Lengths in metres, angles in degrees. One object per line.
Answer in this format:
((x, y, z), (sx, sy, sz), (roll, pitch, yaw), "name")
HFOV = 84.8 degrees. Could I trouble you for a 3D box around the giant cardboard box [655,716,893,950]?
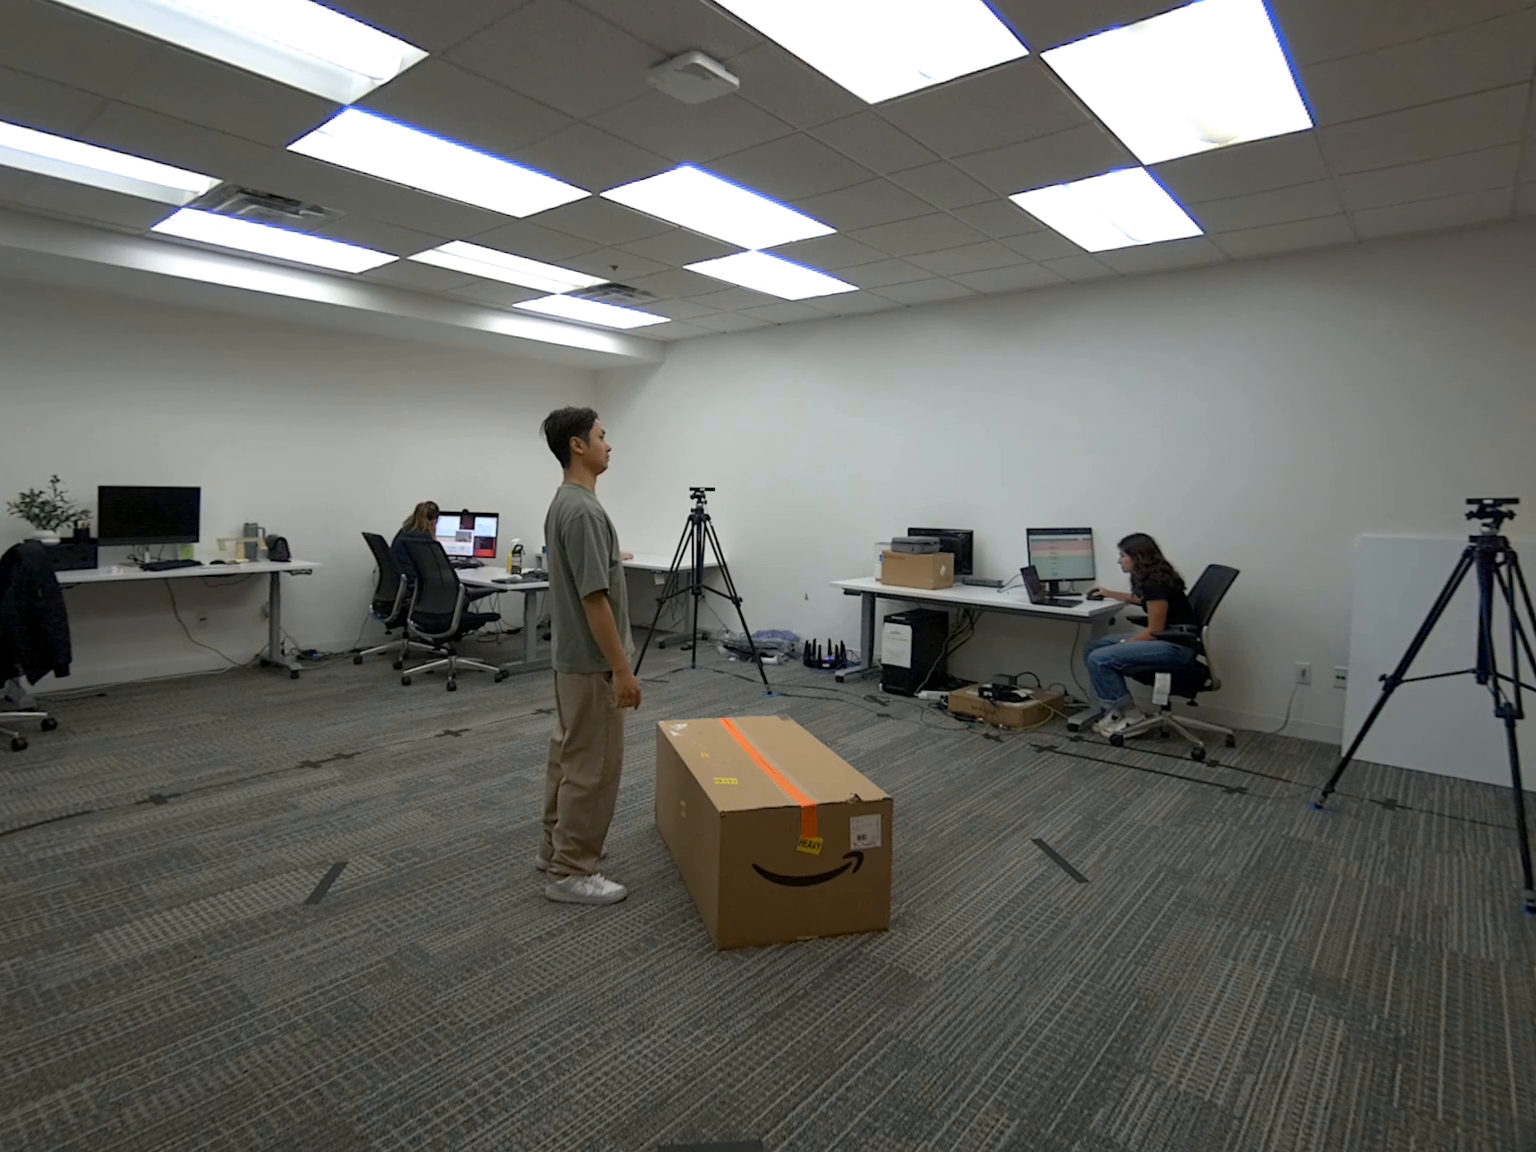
((-0.043, 0.854, 3.102), (0.568, 0.424, 1.048), (-1, 6, -17), "giant cardboard box")
